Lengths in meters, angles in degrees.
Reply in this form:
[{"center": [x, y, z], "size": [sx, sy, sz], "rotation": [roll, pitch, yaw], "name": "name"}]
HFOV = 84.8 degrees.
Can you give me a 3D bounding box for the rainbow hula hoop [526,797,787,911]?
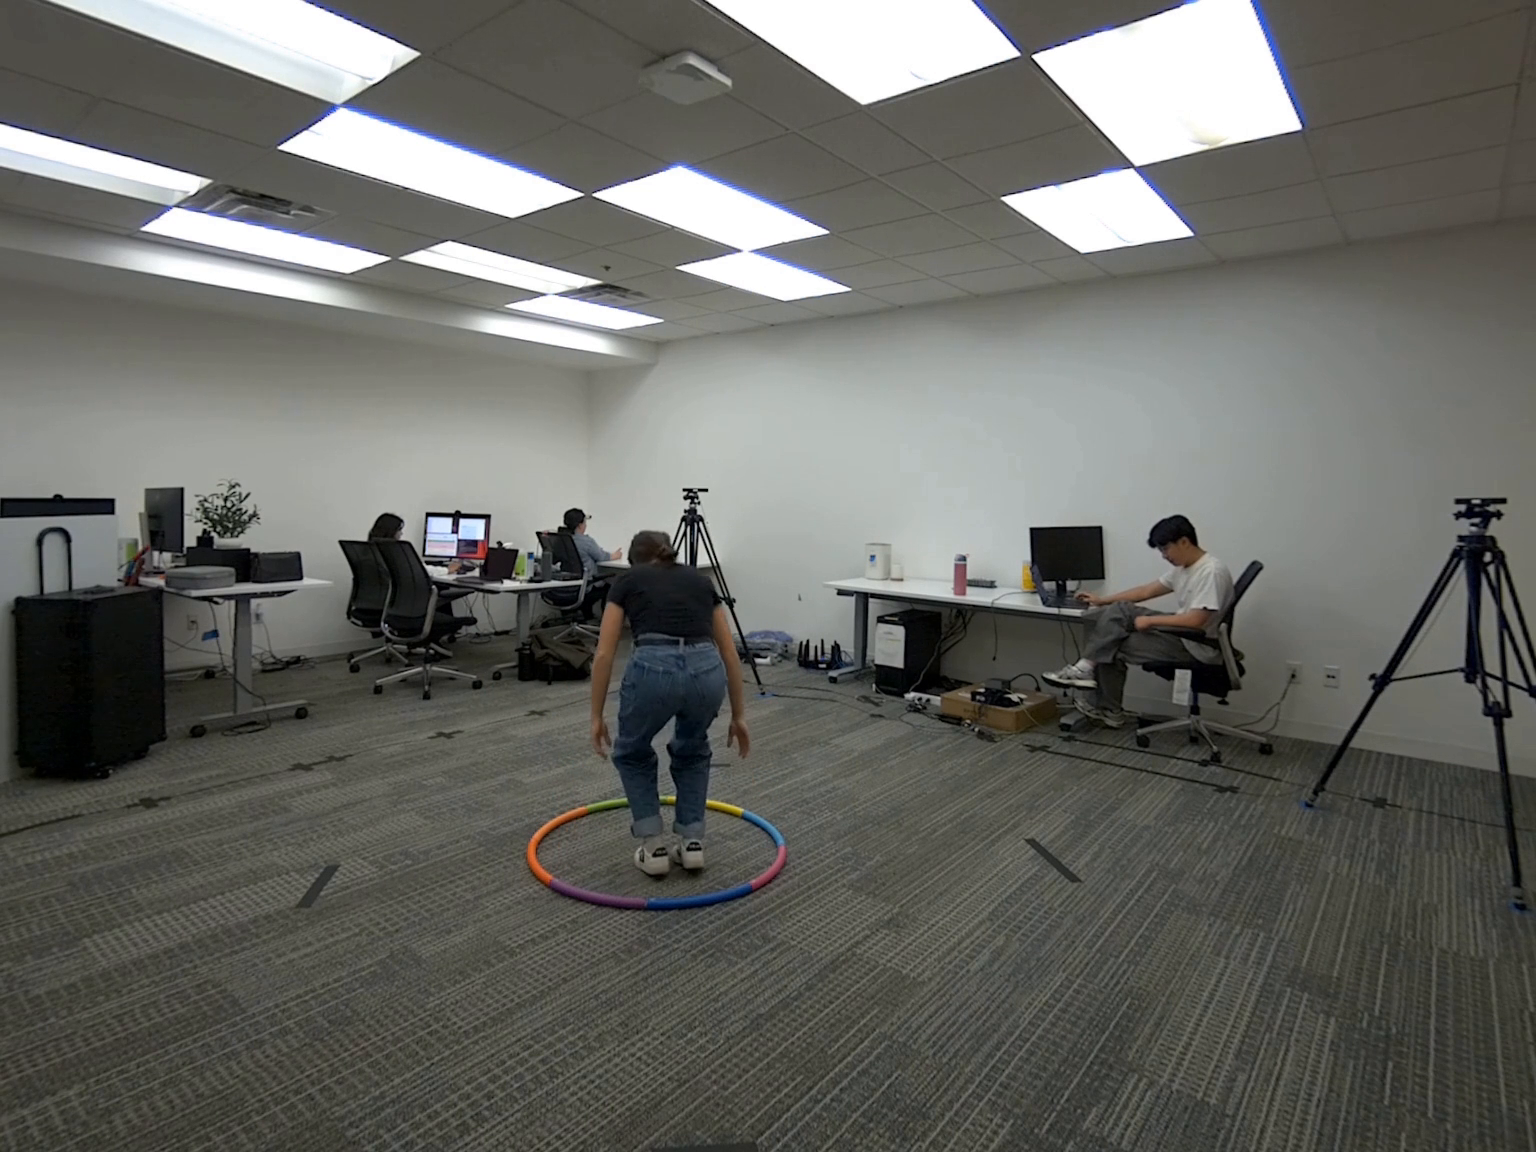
[{"center": [-0.423, 1.017, 3.275], "size": [0.978, 0.035, 0.984], "rotation": [0, 6, -2], "name": "rainbow hula hoop"}]
